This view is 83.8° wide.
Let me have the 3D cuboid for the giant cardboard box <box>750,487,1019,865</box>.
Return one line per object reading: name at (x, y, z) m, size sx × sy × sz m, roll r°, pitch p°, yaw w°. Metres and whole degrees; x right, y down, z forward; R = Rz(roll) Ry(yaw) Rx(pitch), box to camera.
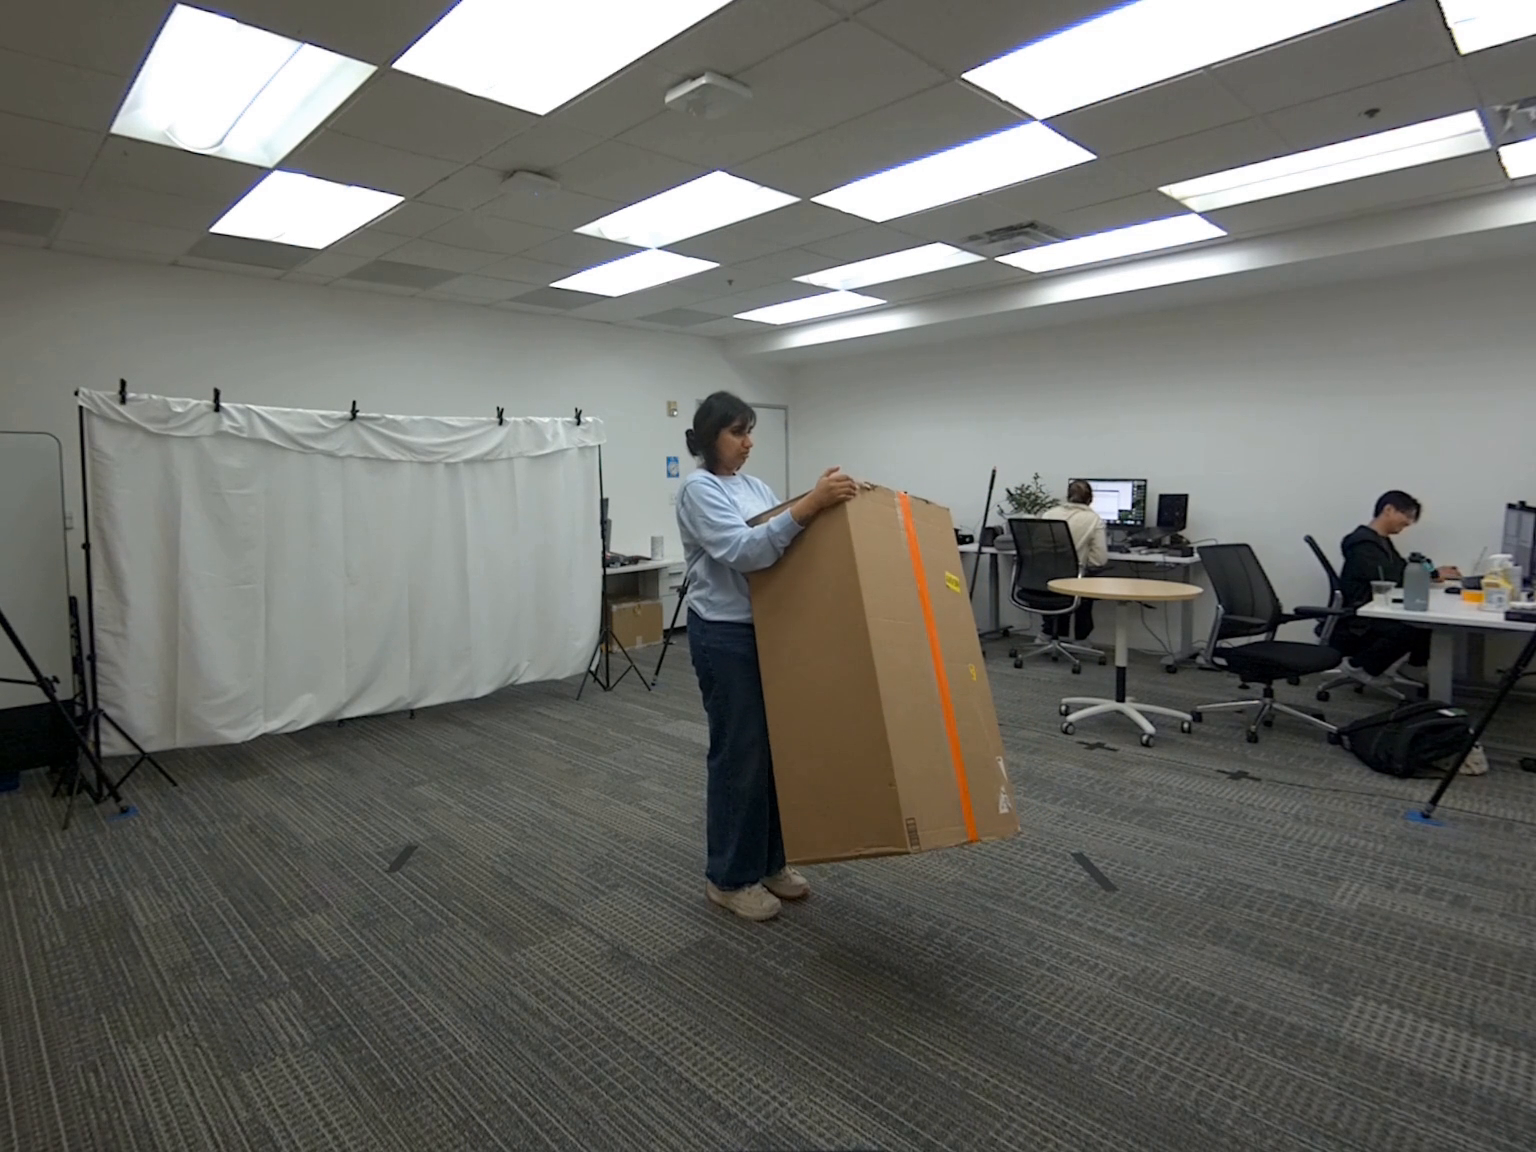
giant cardboard box at (0.330, 0.291, 2.587) m, size 0.564 × 1.046 × 0.454 m, roll 10°, pitch -25°, yaw -43°
